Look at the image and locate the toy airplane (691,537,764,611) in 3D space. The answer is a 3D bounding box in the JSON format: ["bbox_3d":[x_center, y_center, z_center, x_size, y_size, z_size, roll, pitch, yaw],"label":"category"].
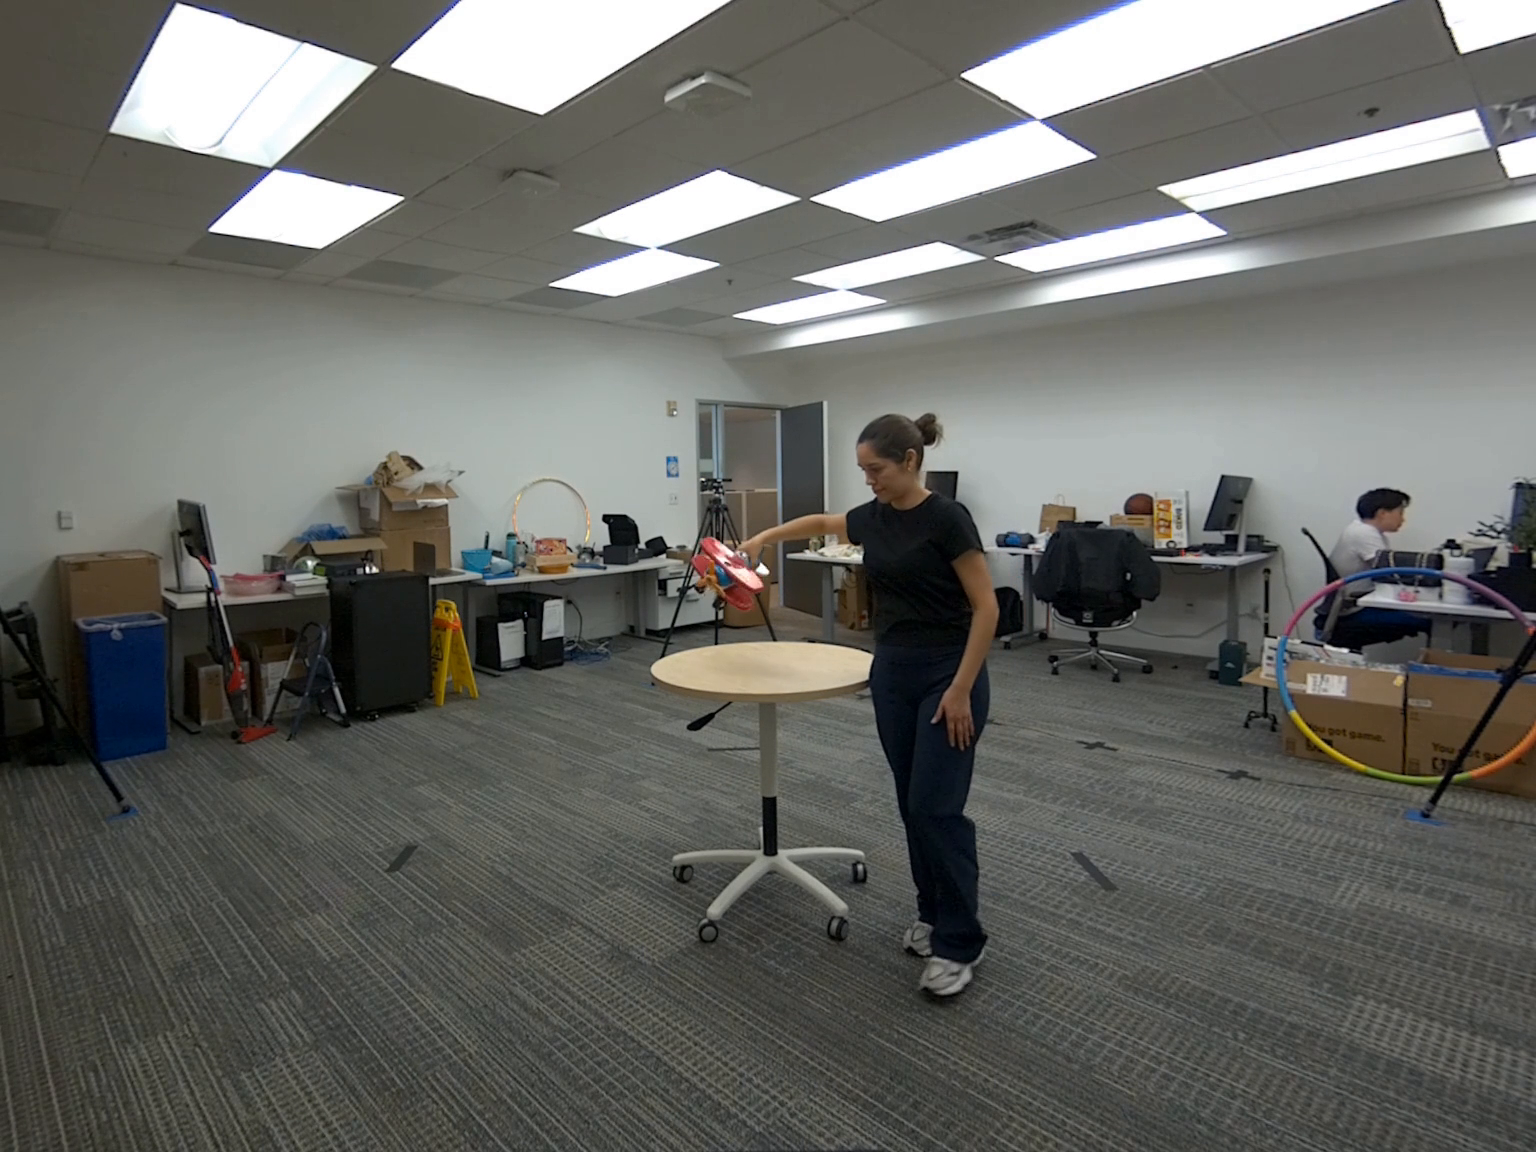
[{"bbox_3d":[-0.128,-0.022,2.758,0.252,0.154,0.263,21,45,1],"label":"toy airplane"}]
